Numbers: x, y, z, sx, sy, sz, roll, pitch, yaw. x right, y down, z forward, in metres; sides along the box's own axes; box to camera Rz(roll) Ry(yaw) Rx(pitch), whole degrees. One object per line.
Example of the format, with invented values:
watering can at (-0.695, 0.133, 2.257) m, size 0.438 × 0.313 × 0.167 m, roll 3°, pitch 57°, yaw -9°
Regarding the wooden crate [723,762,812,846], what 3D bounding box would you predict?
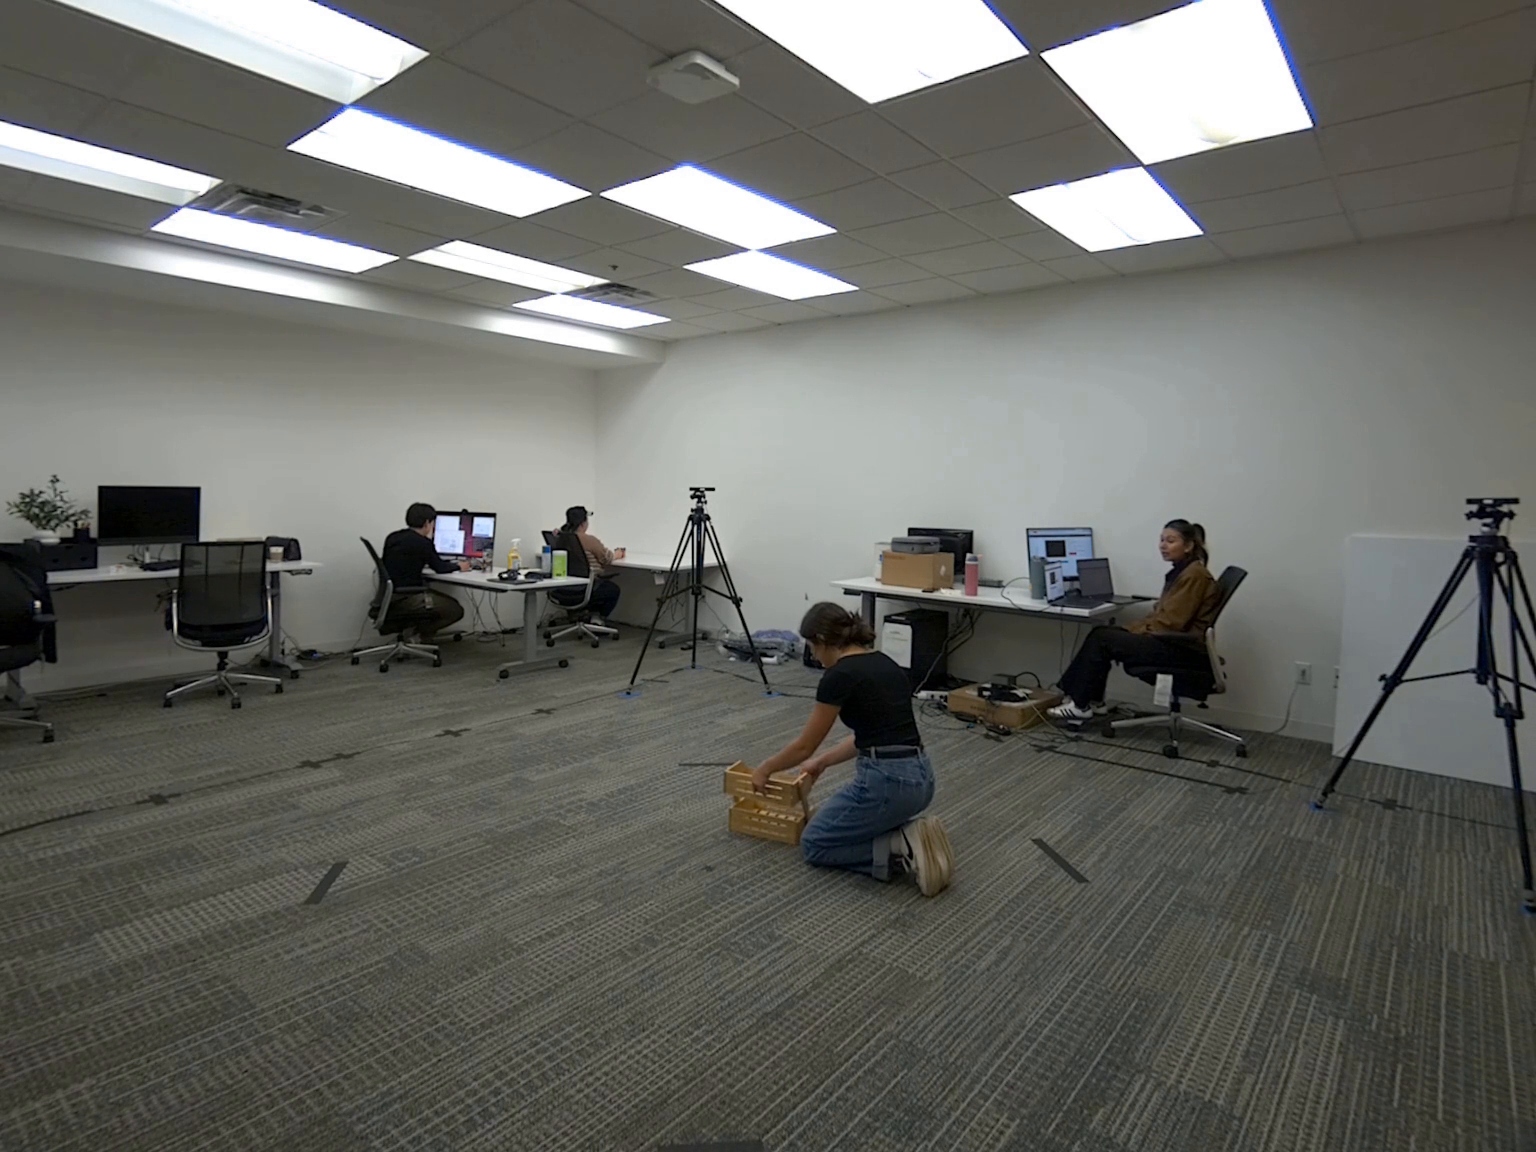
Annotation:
wooden crate at (0.010, 0.899, 3.482) m, size 0.333 × 0.272 × 0.295 m, roll 4°, pitch 6°, yaw 25°
